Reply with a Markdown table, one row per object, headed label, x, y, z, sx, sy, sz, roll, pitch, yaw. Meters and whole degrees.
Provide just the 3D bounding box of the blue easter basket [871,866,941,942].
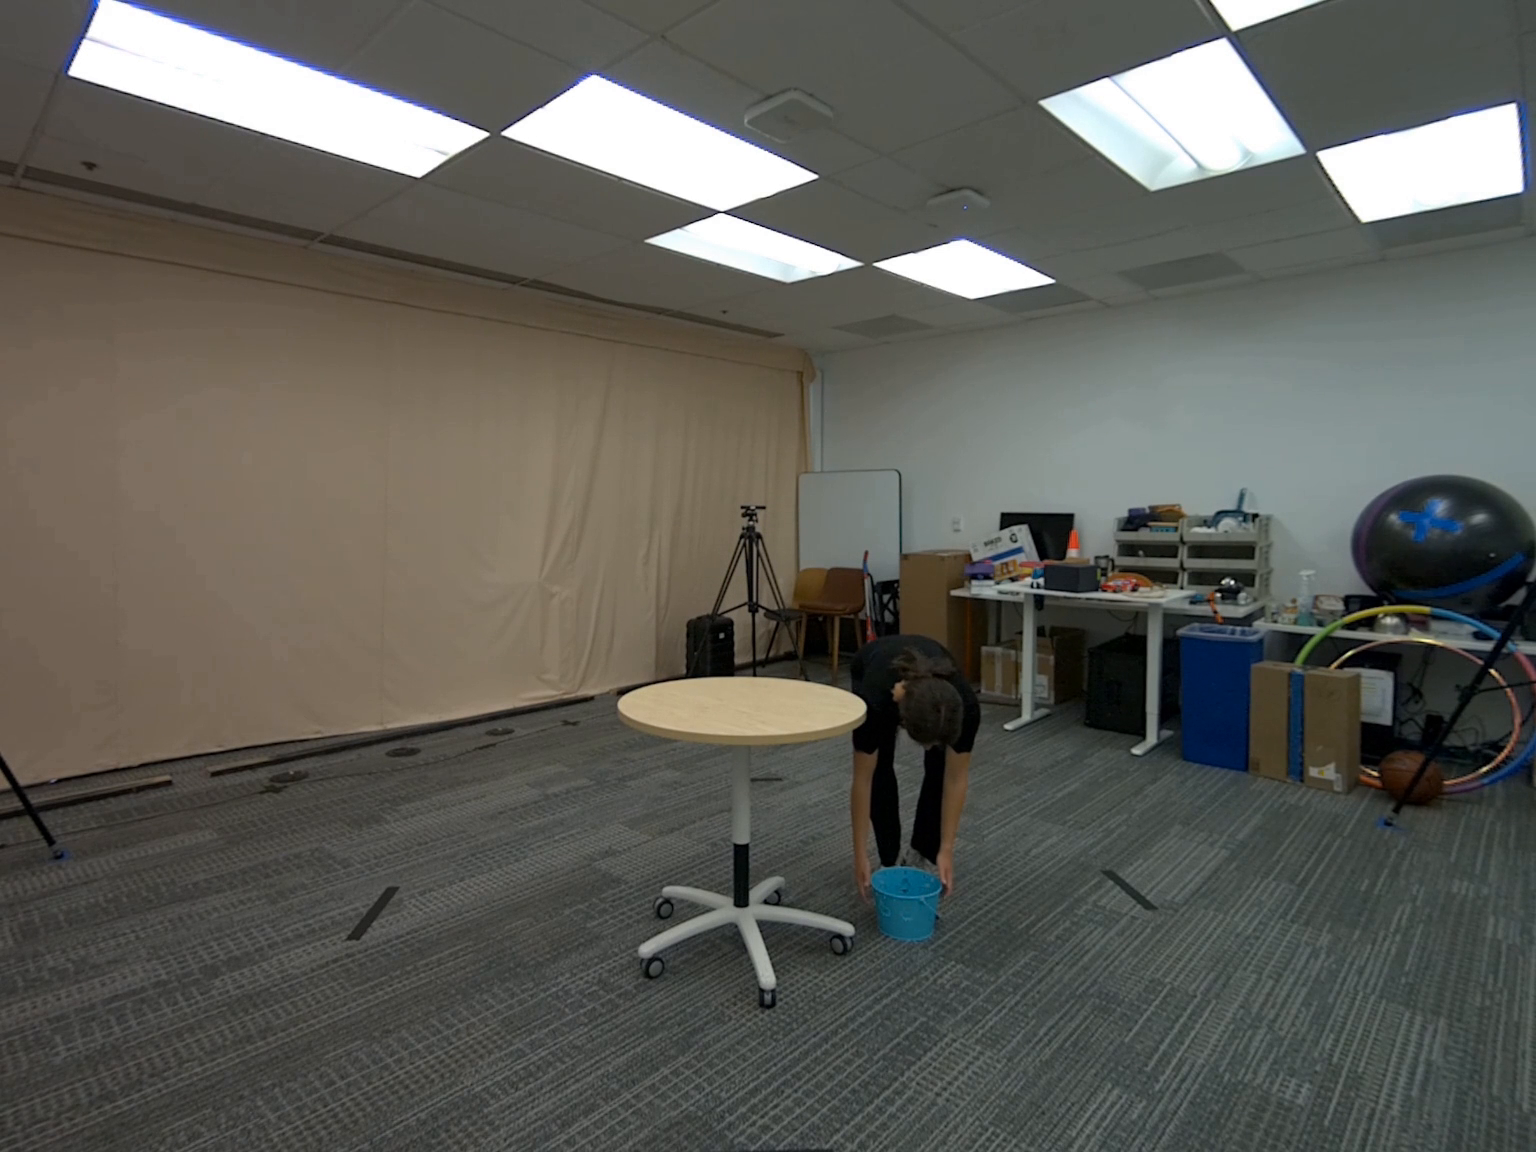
| label | x | y | z | sx | sy | sz | roll | pitch | yaw |
| --- | --- | --- | --- | --- | --- | --- | --- | --- | --- |
| blue easter basket | 0.454 | 1.082 | 2.780 | 0.243 | 0.155 | 0.244 | 1 | 4 | -2 |
